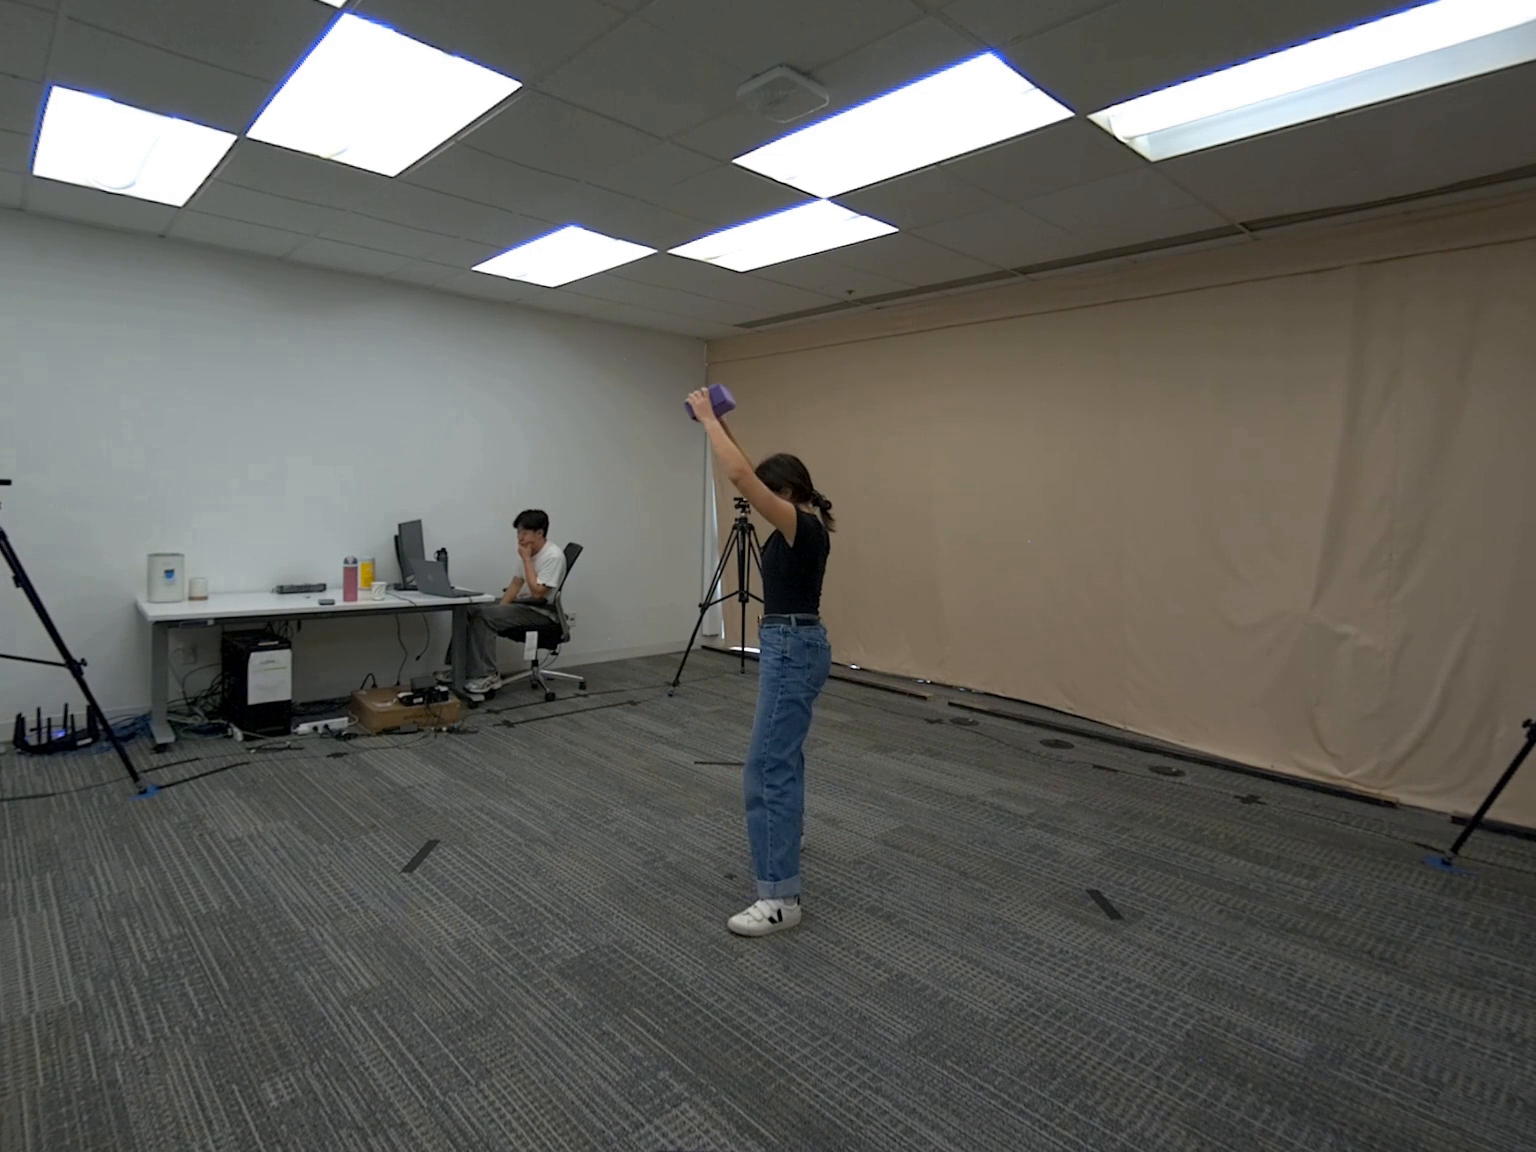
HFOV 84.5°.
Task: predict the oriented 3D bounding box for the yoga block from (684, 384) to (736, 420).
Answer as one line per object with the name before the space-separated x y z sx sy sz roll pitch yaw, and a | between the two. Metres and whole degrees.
yoga block | -0.221 -0.614 3.065 0.149 0.076 0.228 -26 2 10
